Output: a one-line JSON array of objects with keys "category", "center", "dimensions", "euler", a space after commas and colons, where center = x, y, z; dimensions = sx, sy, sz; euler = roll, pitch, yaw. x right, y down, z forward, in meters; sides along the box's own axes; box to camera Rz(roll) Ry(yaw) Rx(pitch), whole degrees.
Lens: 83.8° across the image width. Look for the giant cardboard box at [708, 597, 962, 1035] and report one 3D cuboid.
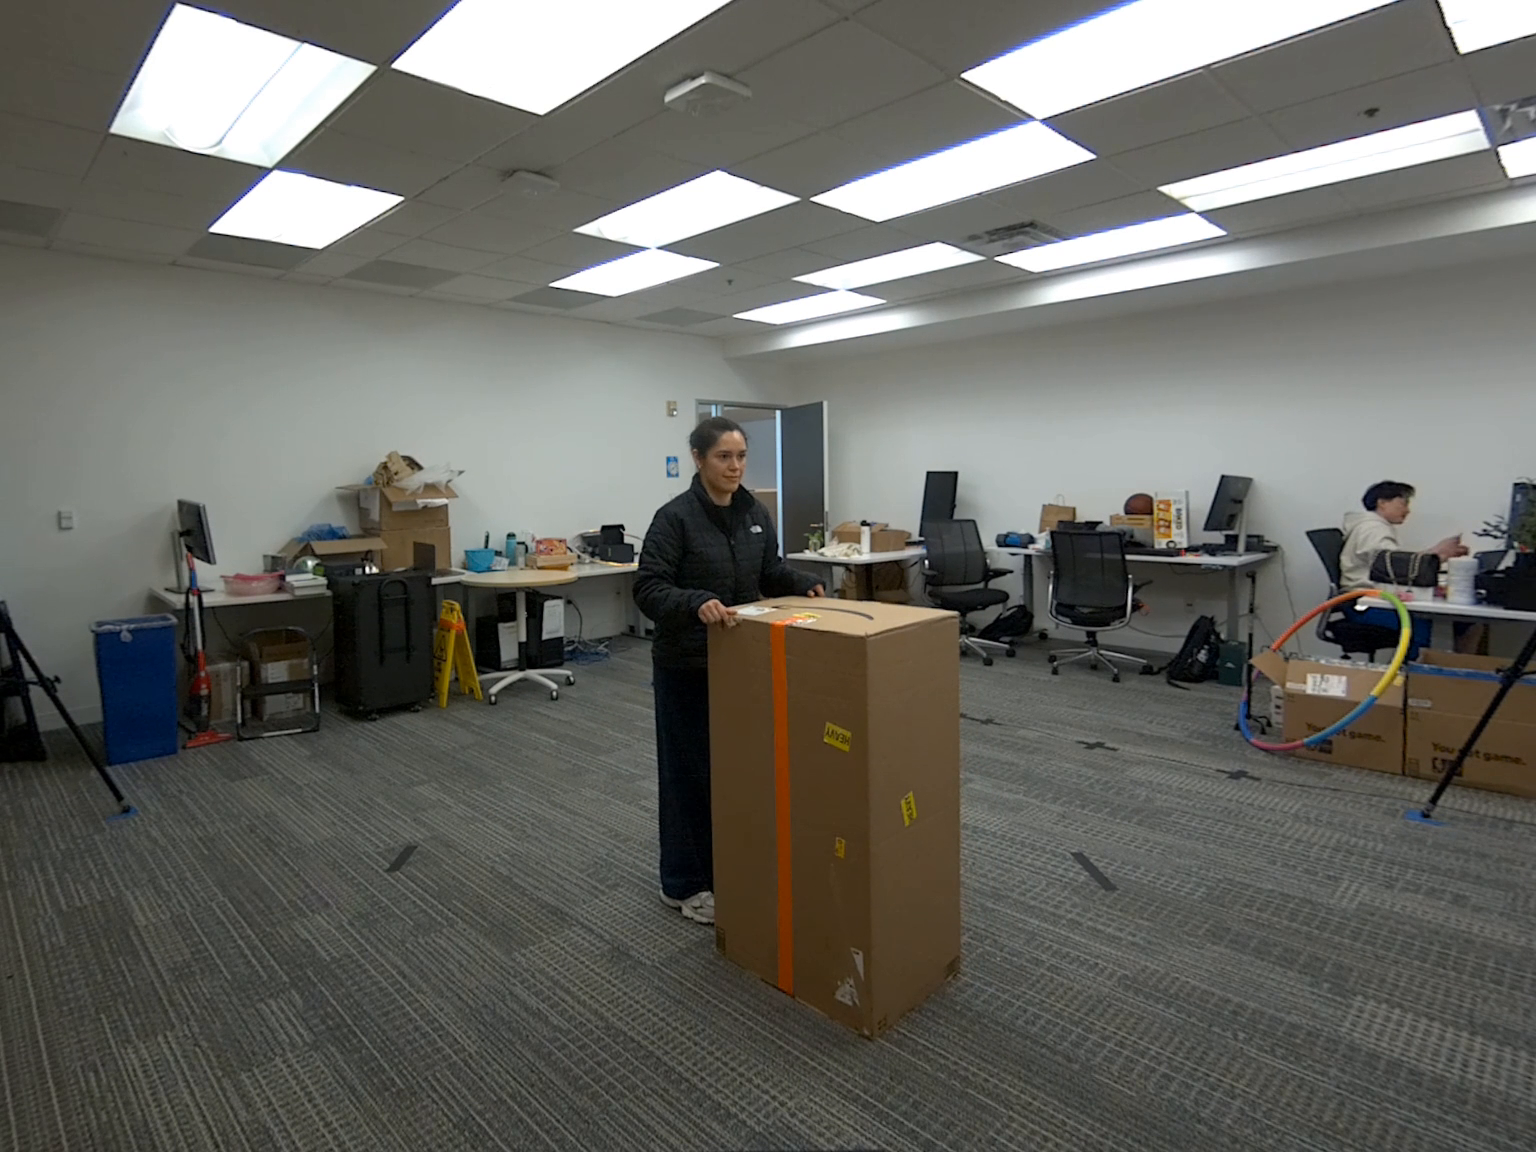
[{"category": "giant cardboard box", "center": [0.187, 0.610, 2.438], "dimensions": [0.435, 1.023, 0.602], "euler": [-6, 6, -44]}]
